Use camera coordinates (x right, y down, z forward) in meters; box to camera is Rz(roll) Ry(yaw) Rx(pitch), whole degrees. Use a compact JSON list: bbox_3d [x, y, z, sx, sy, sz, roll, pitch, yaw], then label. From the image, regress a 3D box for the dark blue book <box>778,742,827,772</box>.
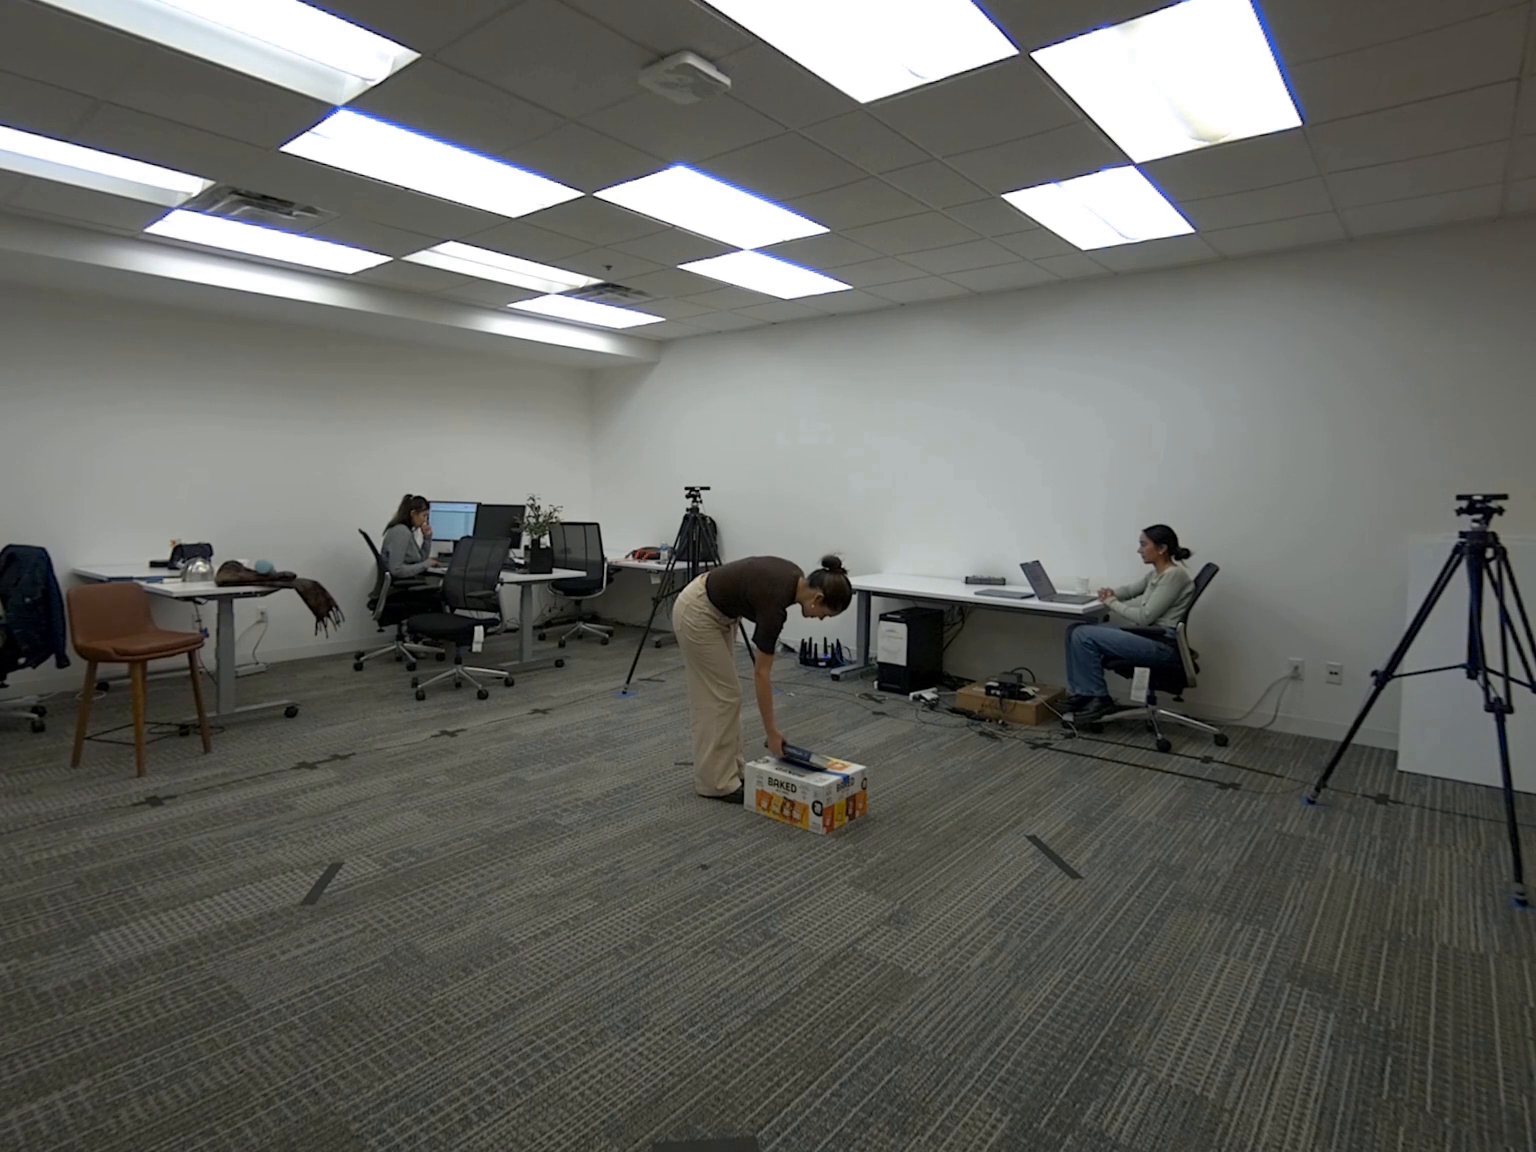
[{"bbox_3d":[0.137,0.770,3.694,0.254,0.045,0.156,7,-18,43],"label":"dark blue book"}]
